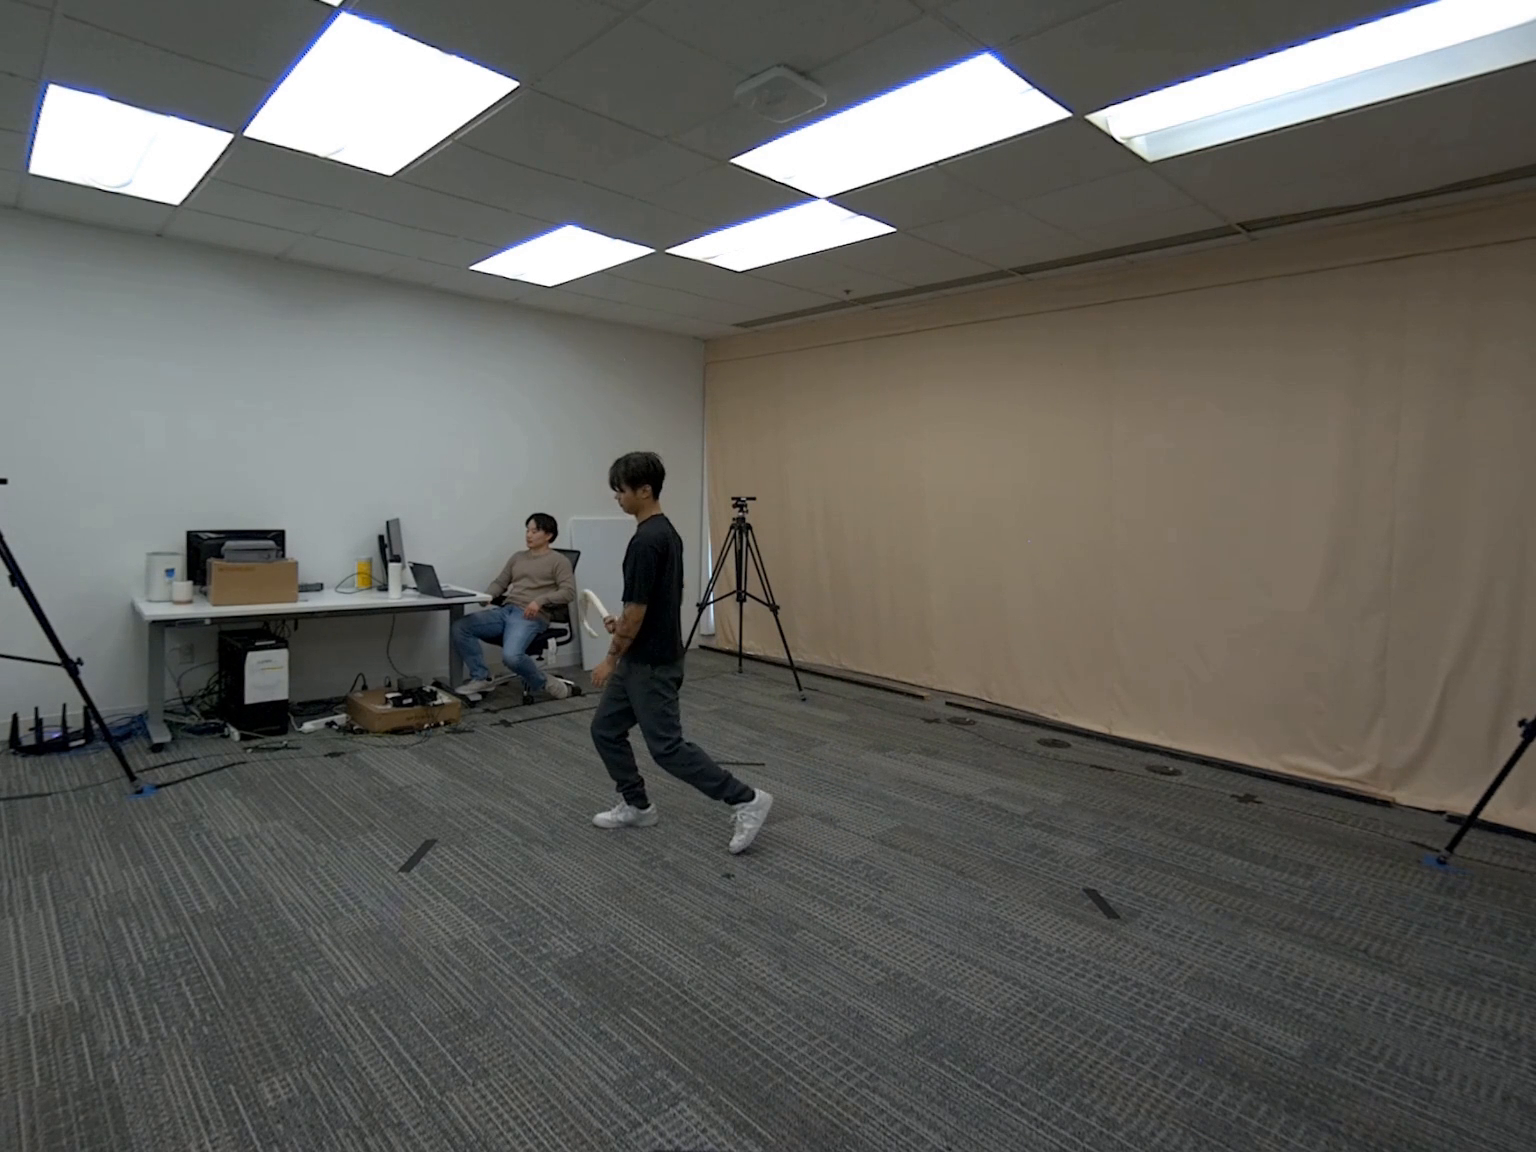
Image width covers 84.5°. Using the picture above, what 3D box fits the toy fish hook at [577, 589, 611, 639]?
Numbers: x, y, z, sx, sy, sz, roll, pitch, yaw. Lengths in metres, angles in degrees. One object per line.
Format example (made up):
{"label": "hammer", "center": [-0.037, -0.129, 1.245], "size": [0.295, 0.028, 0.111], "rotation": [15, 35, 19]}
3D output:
{"label": "toy fish hook", "center": [-0.781, 0.226, 3.869], "size": [0.047, 0.221, 0.522], "rotation": [-12, 27, -30]}
